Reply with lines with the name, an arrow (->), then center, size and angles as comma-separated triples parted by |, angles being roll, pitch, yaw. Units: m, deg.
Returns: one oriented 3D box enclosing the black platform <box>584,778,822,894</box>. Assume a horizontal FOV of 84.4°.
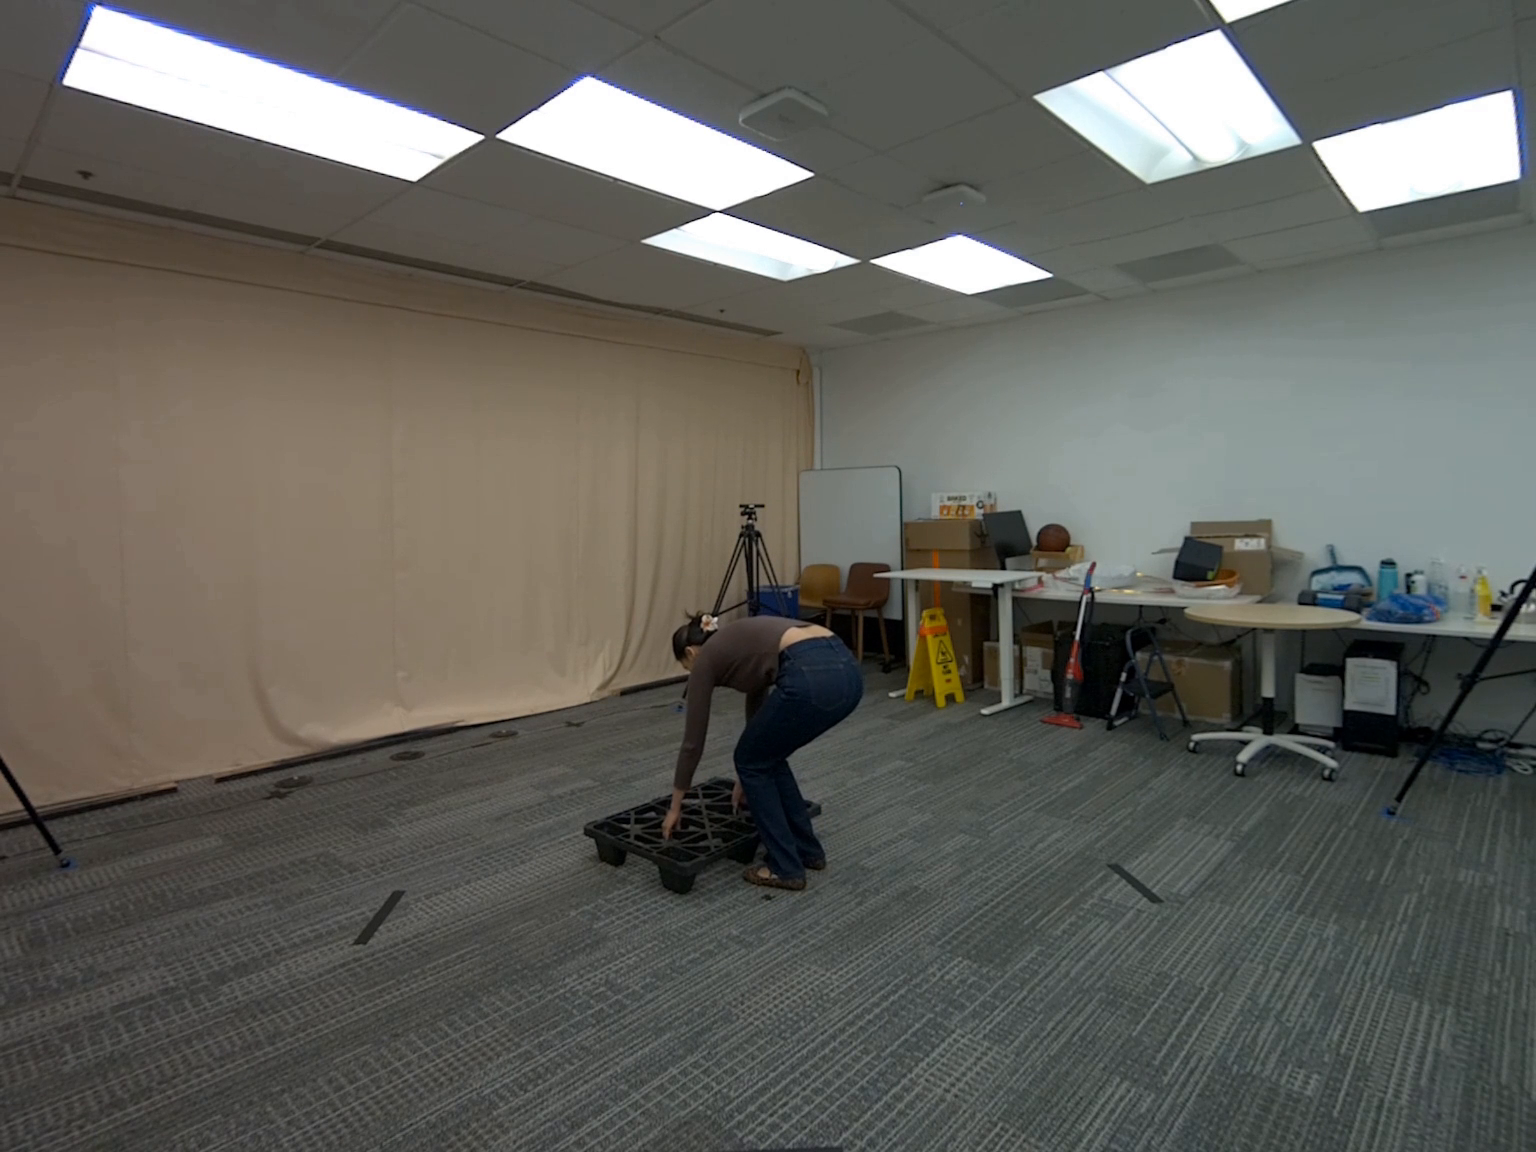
black platform -> -0.246, 1.037, 3.428 | 0.625, 0.143, 0.781 | 3, 7, 42
